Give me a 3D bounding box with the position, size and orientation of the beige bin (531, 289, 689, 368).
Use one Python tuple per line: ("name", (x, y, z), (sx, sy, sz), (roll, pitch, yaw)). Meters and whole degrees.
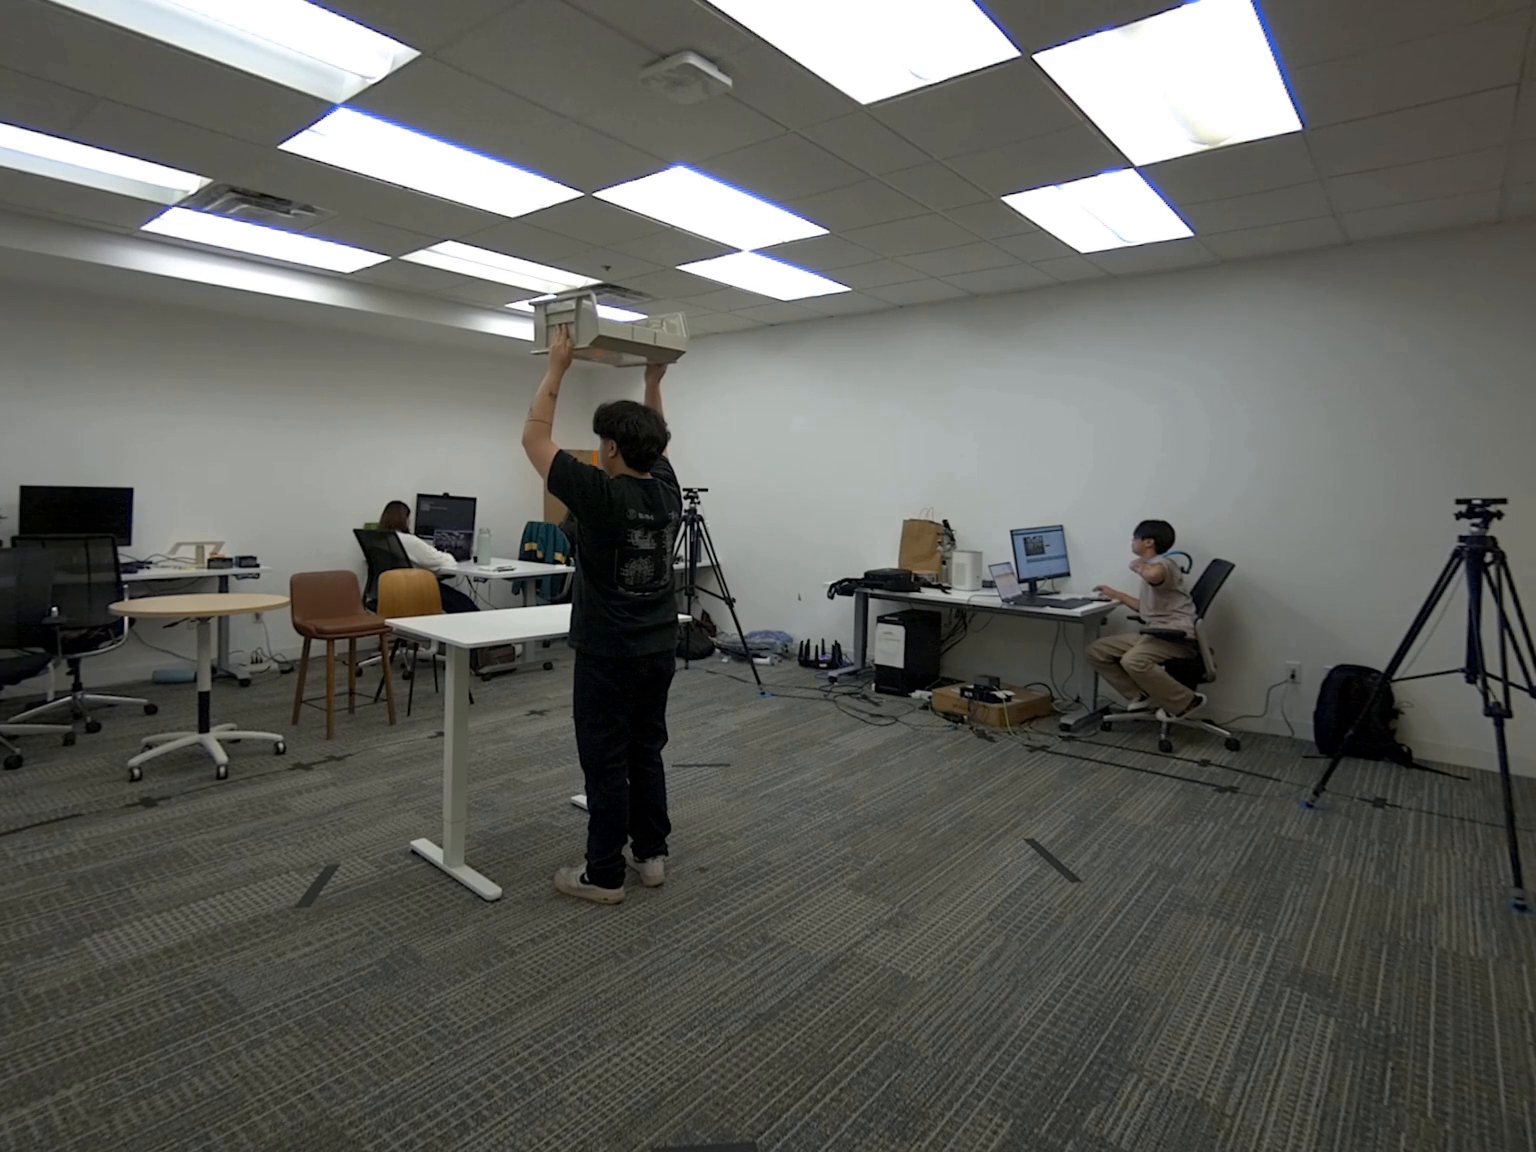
("beige bin", (-0.564, -0.853, 2.973), (0.390, 0.188, 0.410), (7, 8, 40))
